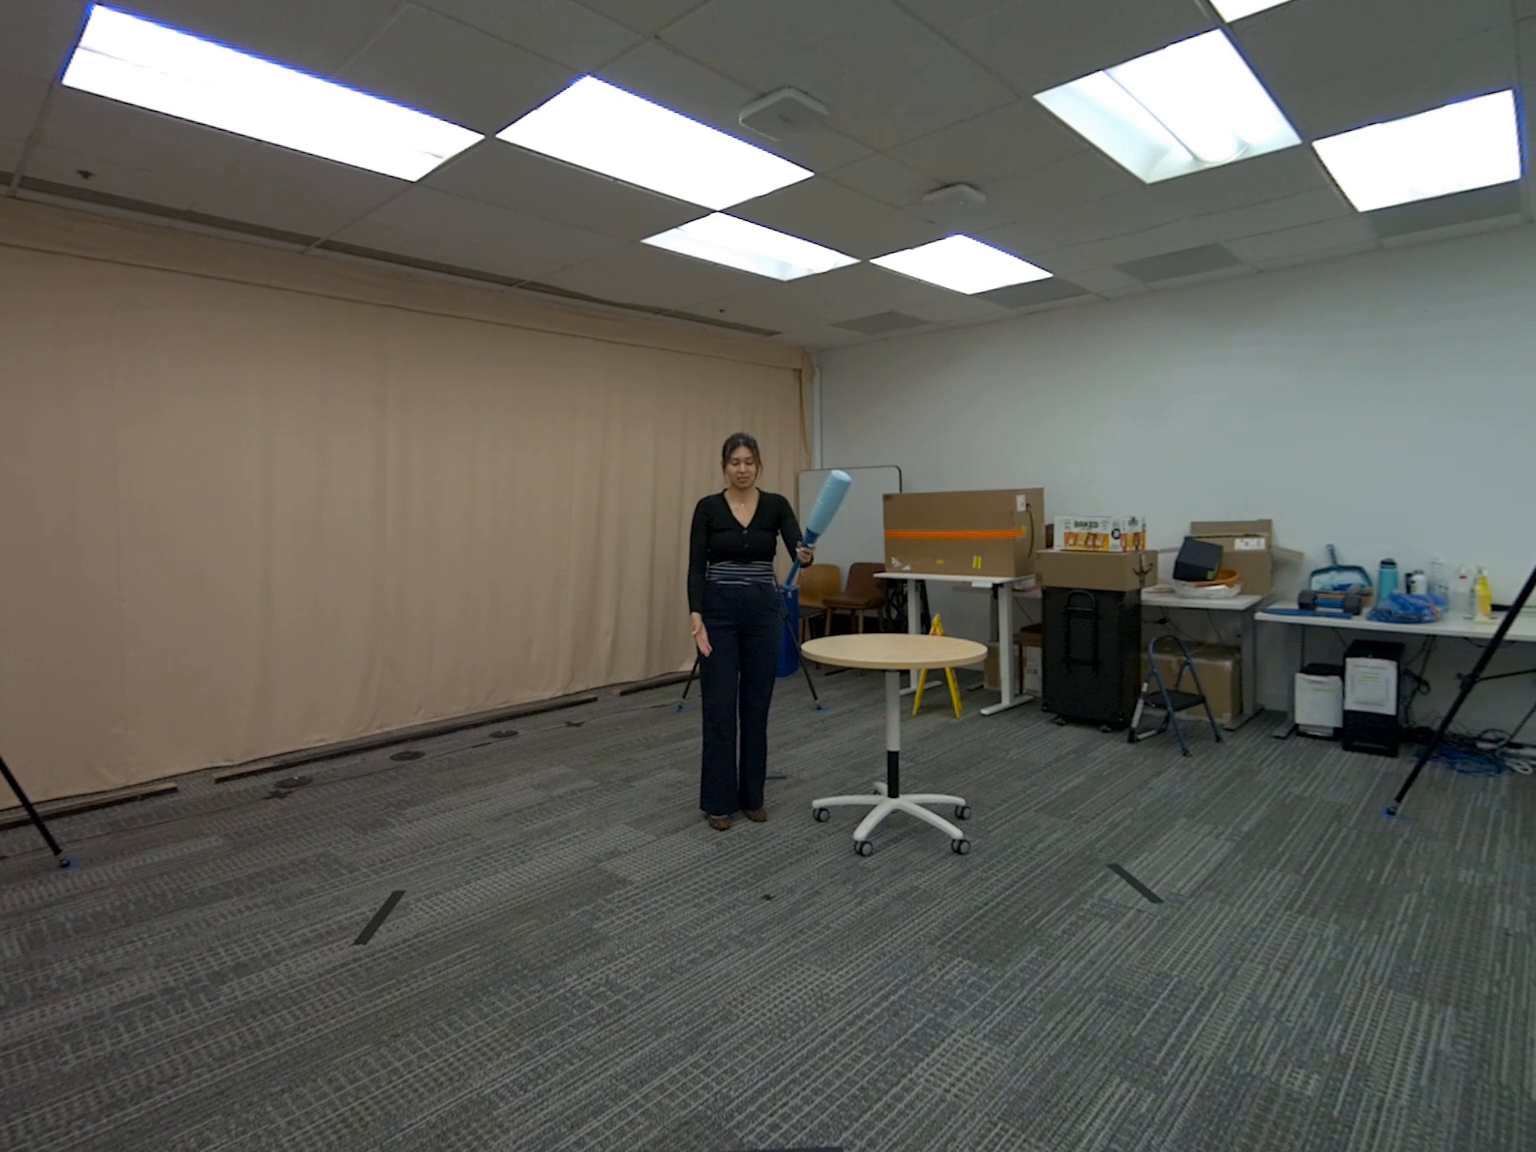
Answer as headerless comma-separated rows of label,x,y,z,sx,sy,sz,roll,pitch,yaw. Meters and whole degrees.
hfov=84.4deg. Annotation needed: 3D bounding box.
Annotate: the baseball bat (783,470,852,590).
baseball bat,0.175,-0.160,3.286,0.088,0.541,0.090,19,27,-12
